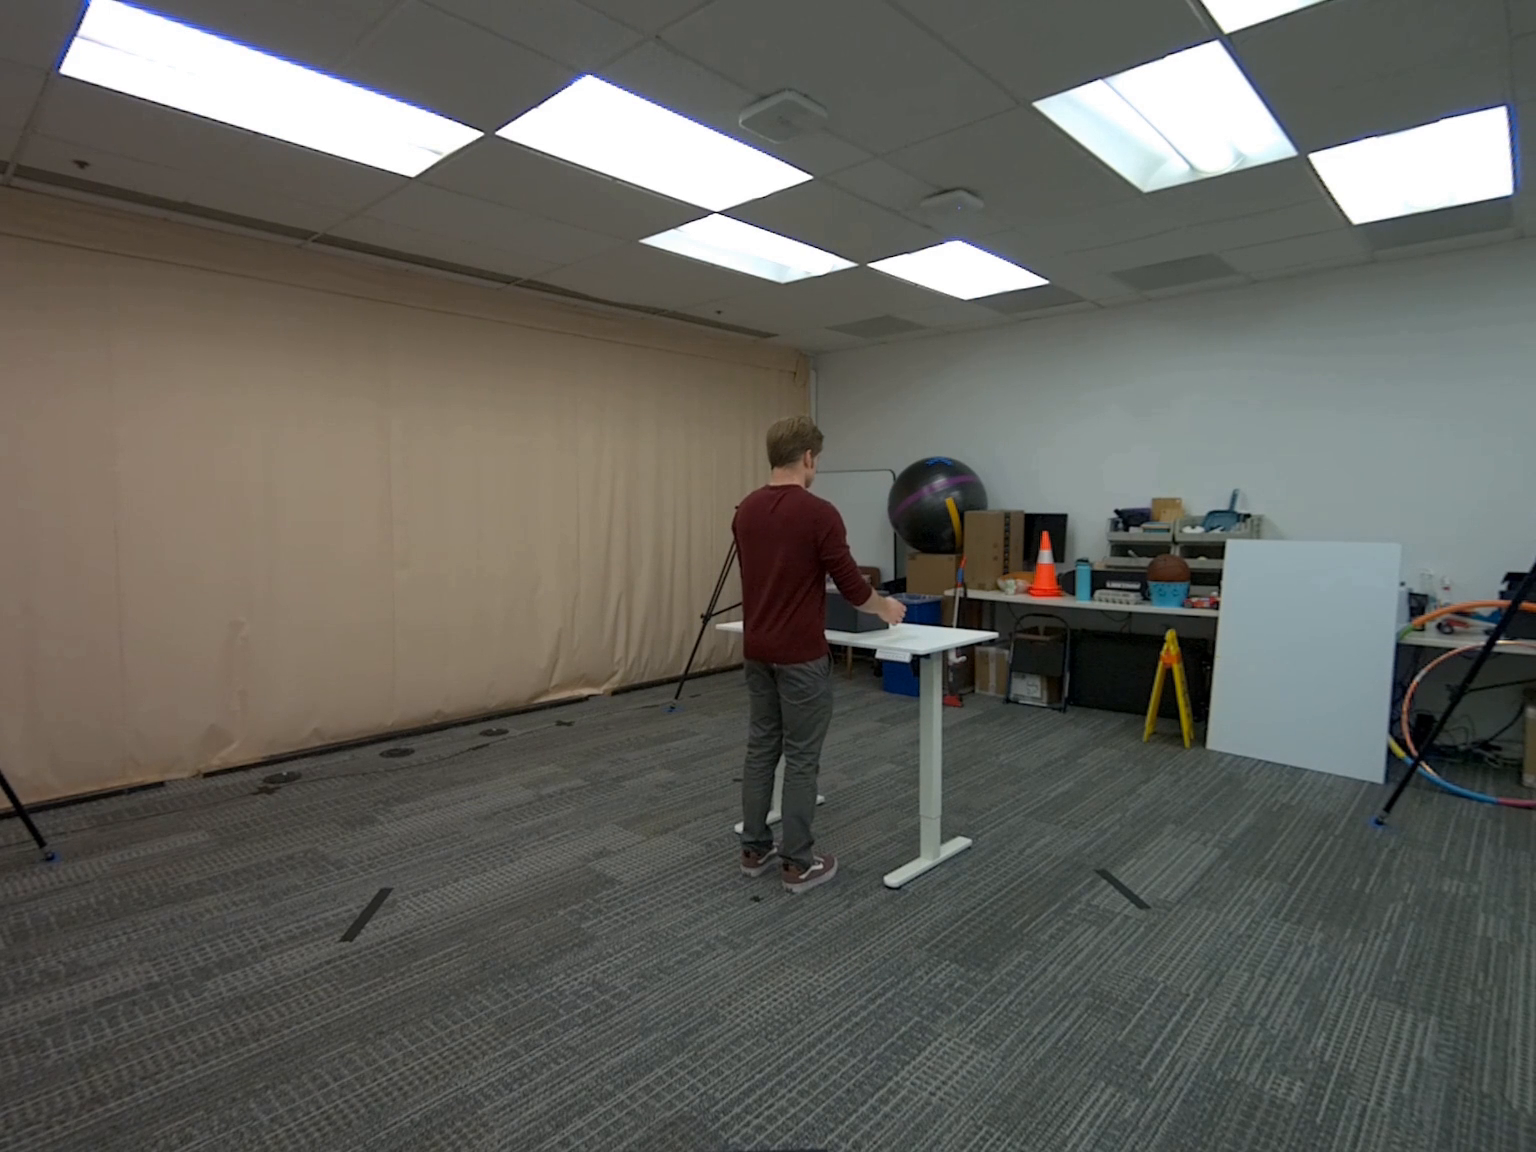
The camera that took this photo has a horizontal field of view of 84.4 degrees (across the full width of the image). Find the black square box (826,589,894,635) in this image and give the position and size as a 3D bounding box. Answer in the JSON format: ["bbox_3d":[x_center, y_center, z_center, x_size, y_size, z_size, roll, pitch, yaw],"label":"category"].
[{"bbox_3d":[0.353,0.139,3.490,0.210,0.155,0.235,-3,5,-42],"label":"black square box"}]
